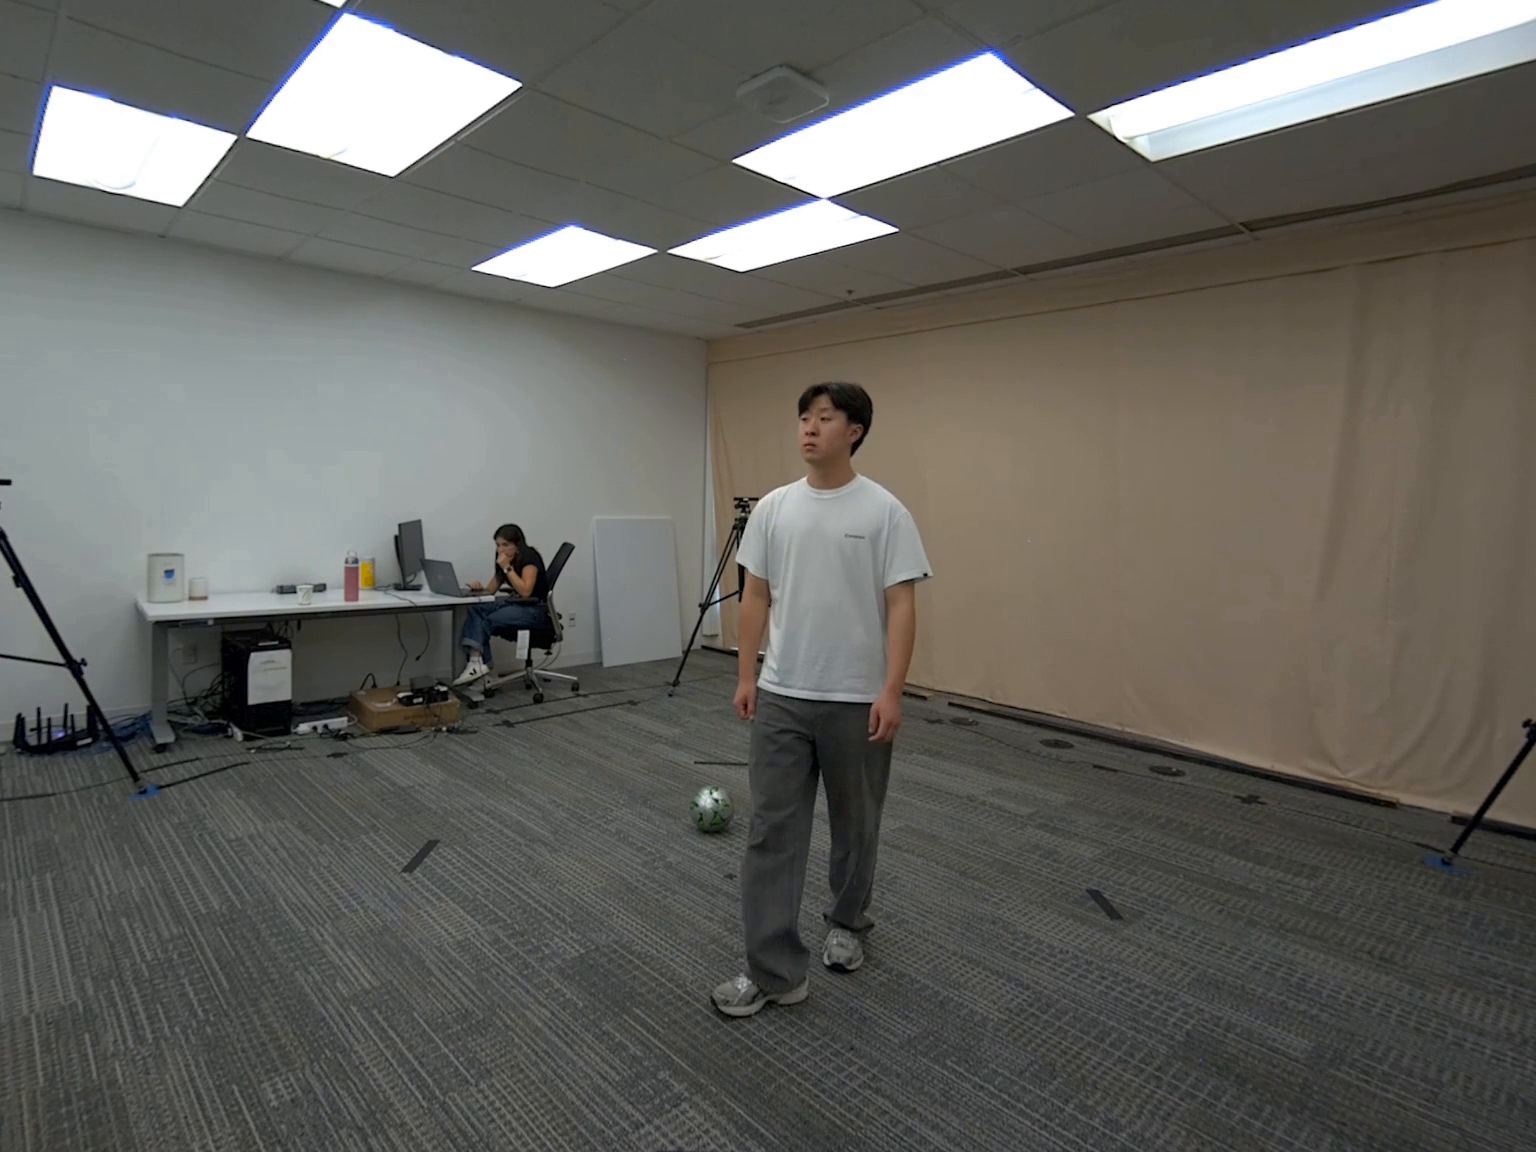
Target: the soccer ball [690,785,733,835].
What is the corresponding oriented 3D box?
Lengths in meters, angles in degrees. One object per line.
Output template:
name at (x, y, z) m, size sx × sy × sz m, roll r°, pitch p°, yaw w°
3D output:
soccer ball at (-0.245, 0.977, 3.529) m, size 0.187 × 0.187 × 0.188 m, roll 1°, pitch 4°, yaw -1°
